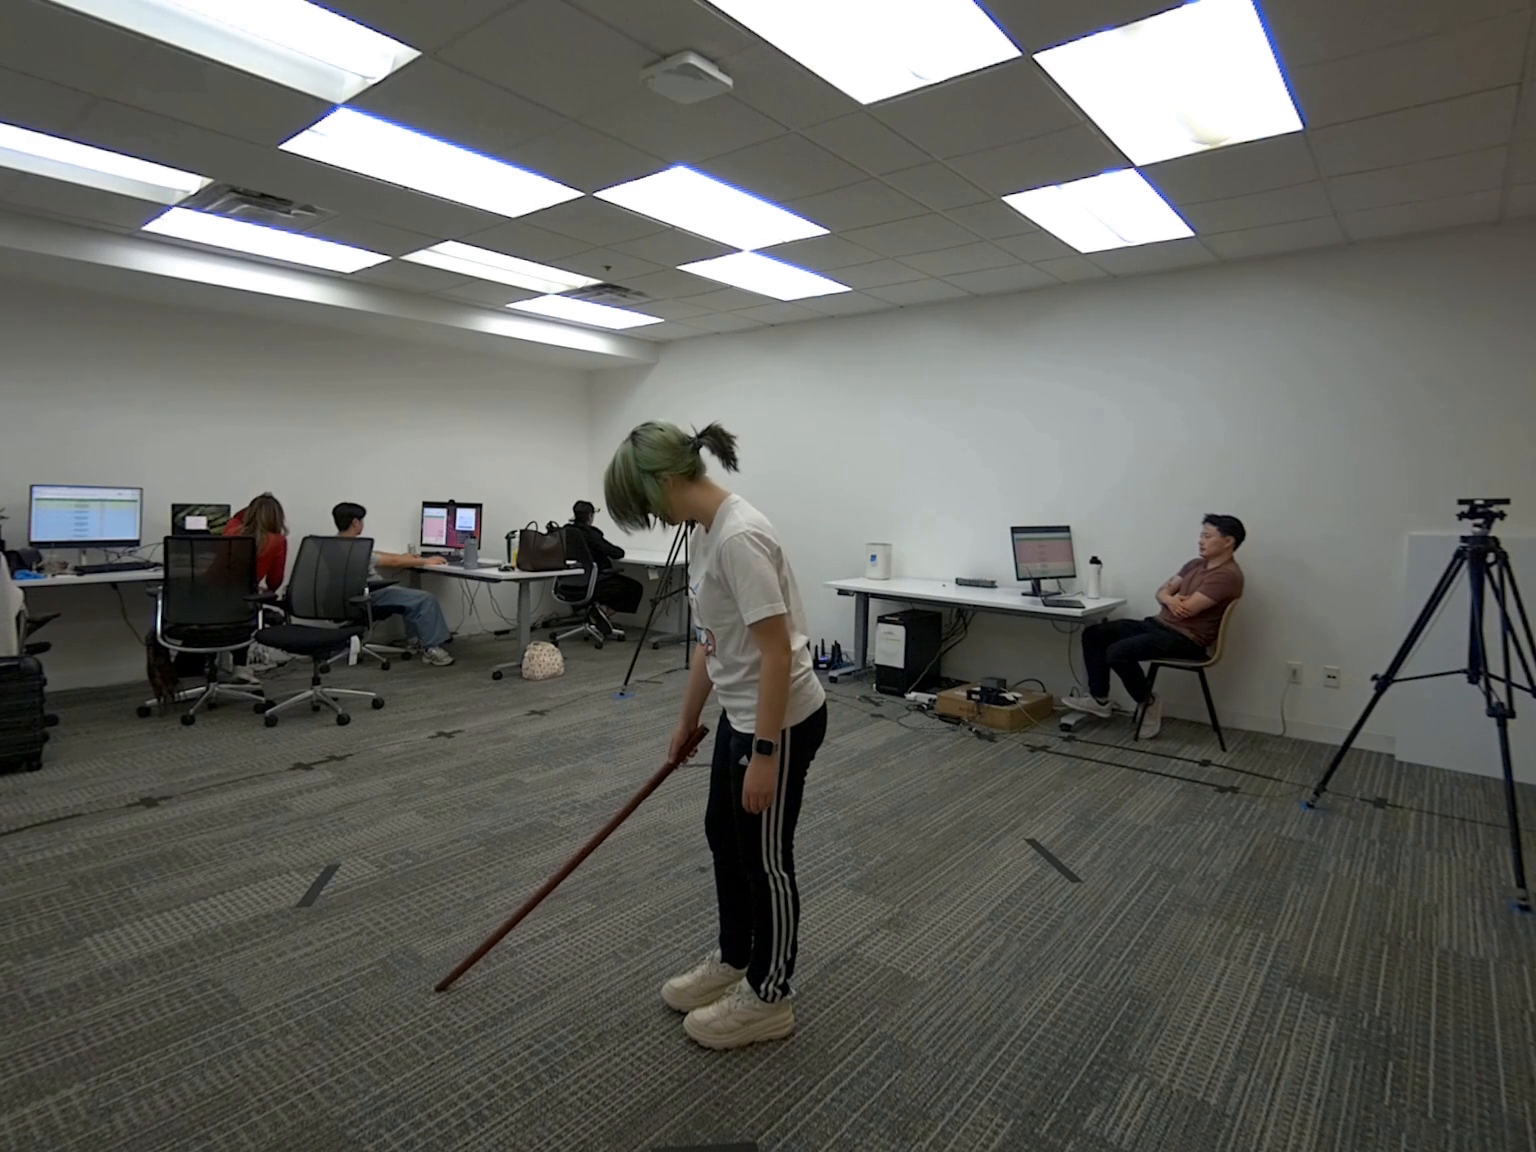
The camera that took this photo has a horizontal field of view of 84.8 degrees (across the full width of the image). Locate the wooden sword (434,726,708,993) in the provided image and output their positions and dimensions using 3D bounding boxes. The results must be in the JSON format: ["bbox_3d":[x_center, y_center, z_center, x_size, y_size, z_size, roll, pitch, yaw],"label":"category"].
[{"bbox_3d":[-0.546,0.788,2.368,0.053,1.024,0.023,43,-5,36],"label":"wooden sword"}]
